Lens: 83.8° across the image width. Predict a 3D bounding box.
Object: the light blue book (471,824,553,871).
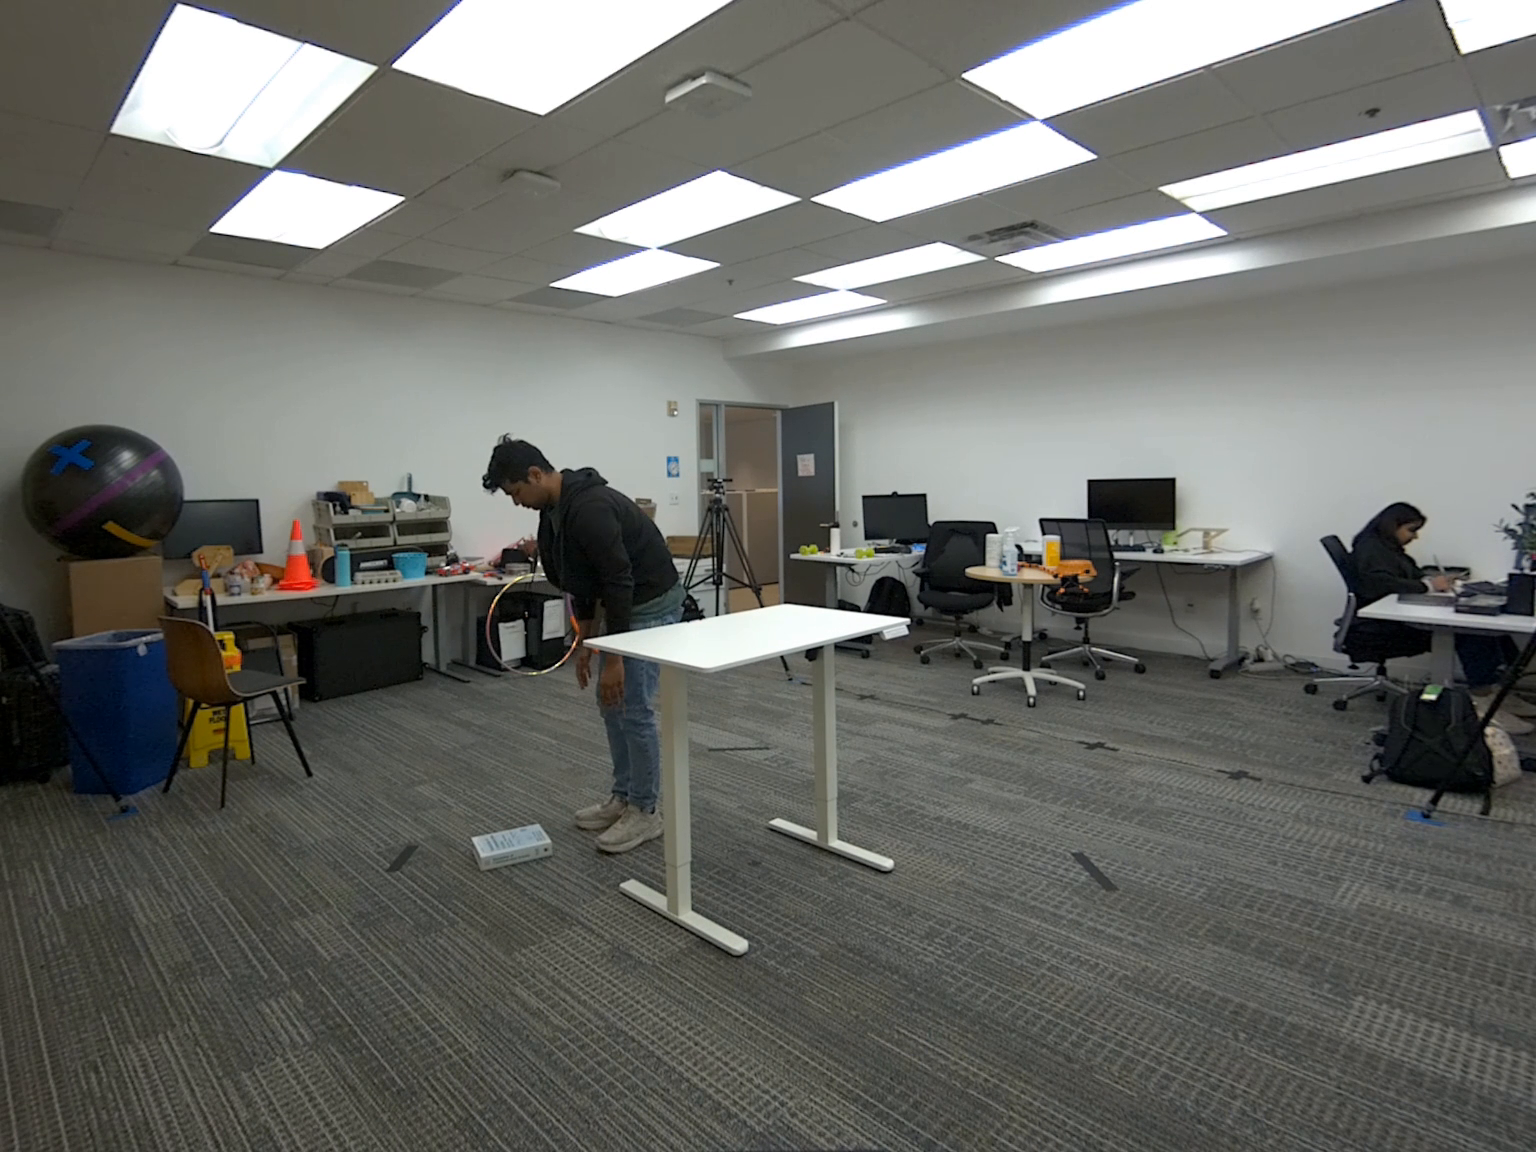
[{"bbox_3d":[-0.962,1.018,3.220,0.255,0.059,0.196,-5,7,-27],"label":"light blue book"}]
